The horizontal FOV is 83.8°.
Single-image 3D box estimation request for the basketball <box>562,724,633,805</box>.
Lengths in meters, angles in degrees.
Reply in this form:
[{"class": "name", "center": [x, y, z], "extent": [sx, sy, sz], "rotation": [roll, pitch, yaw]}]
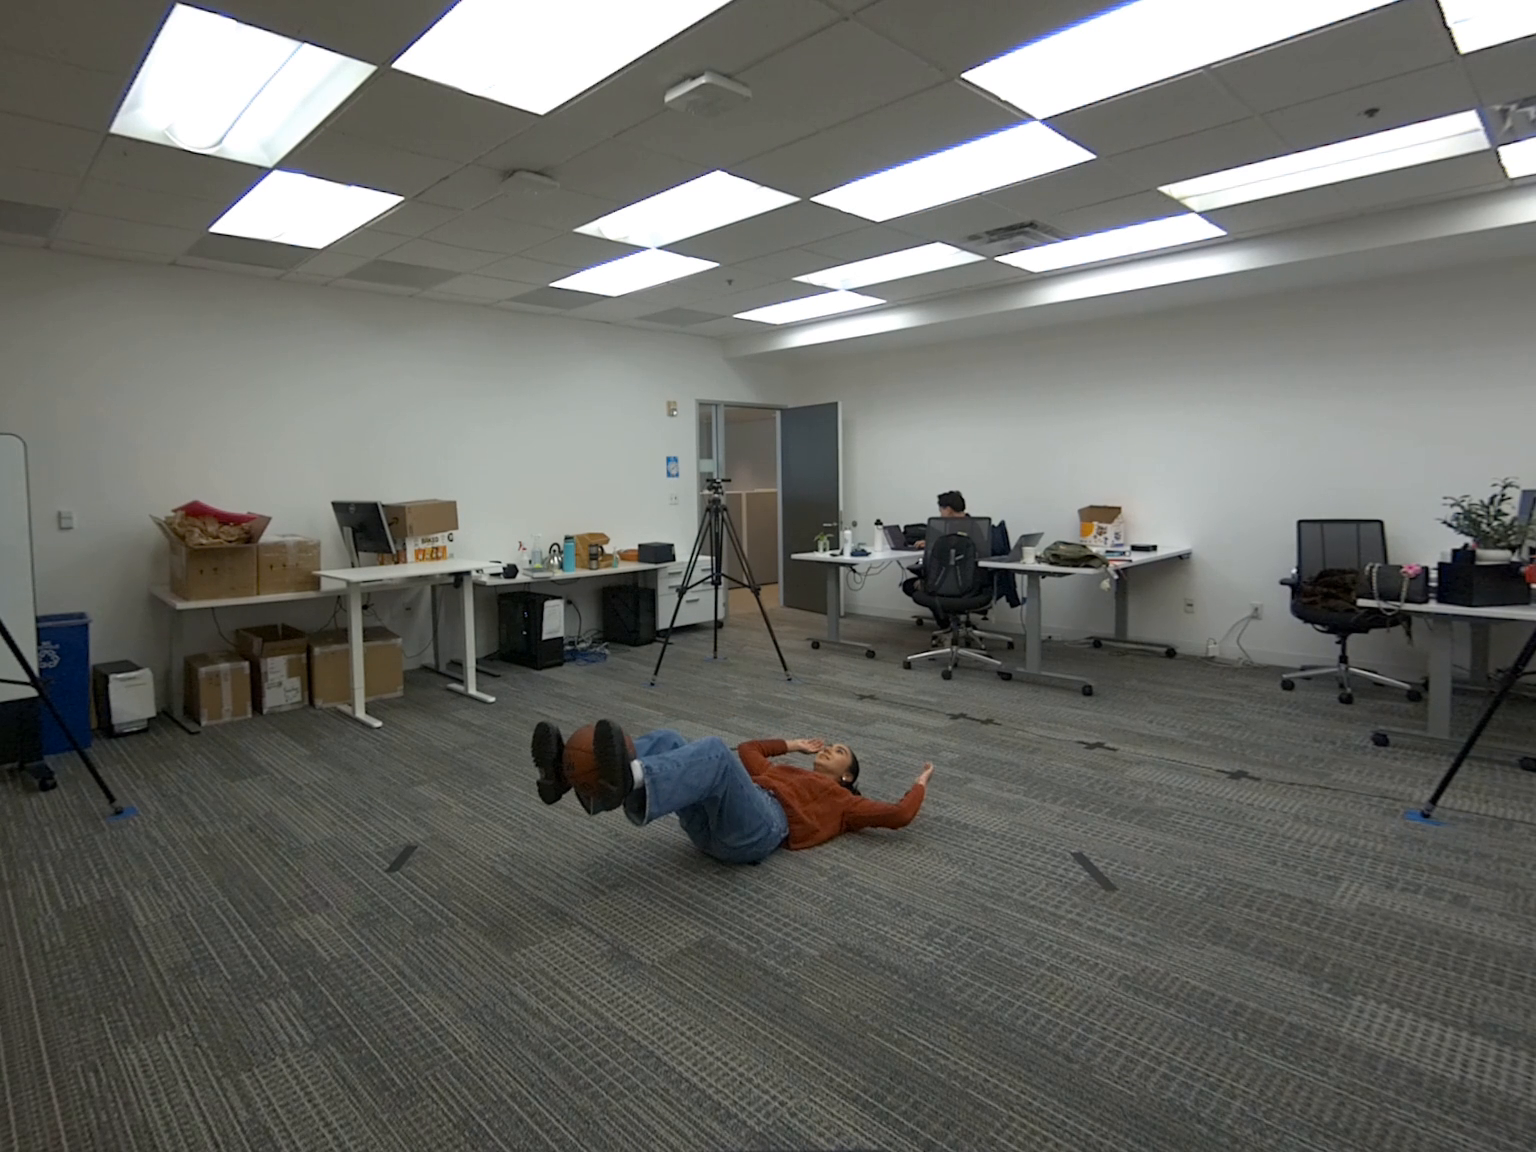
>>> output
[{"class": "basketball", "center": [-0.529, 0.587, 2.723], "extent": [0.236, 0.236, 0.236], "rotation": [0, 1, -2]}]
